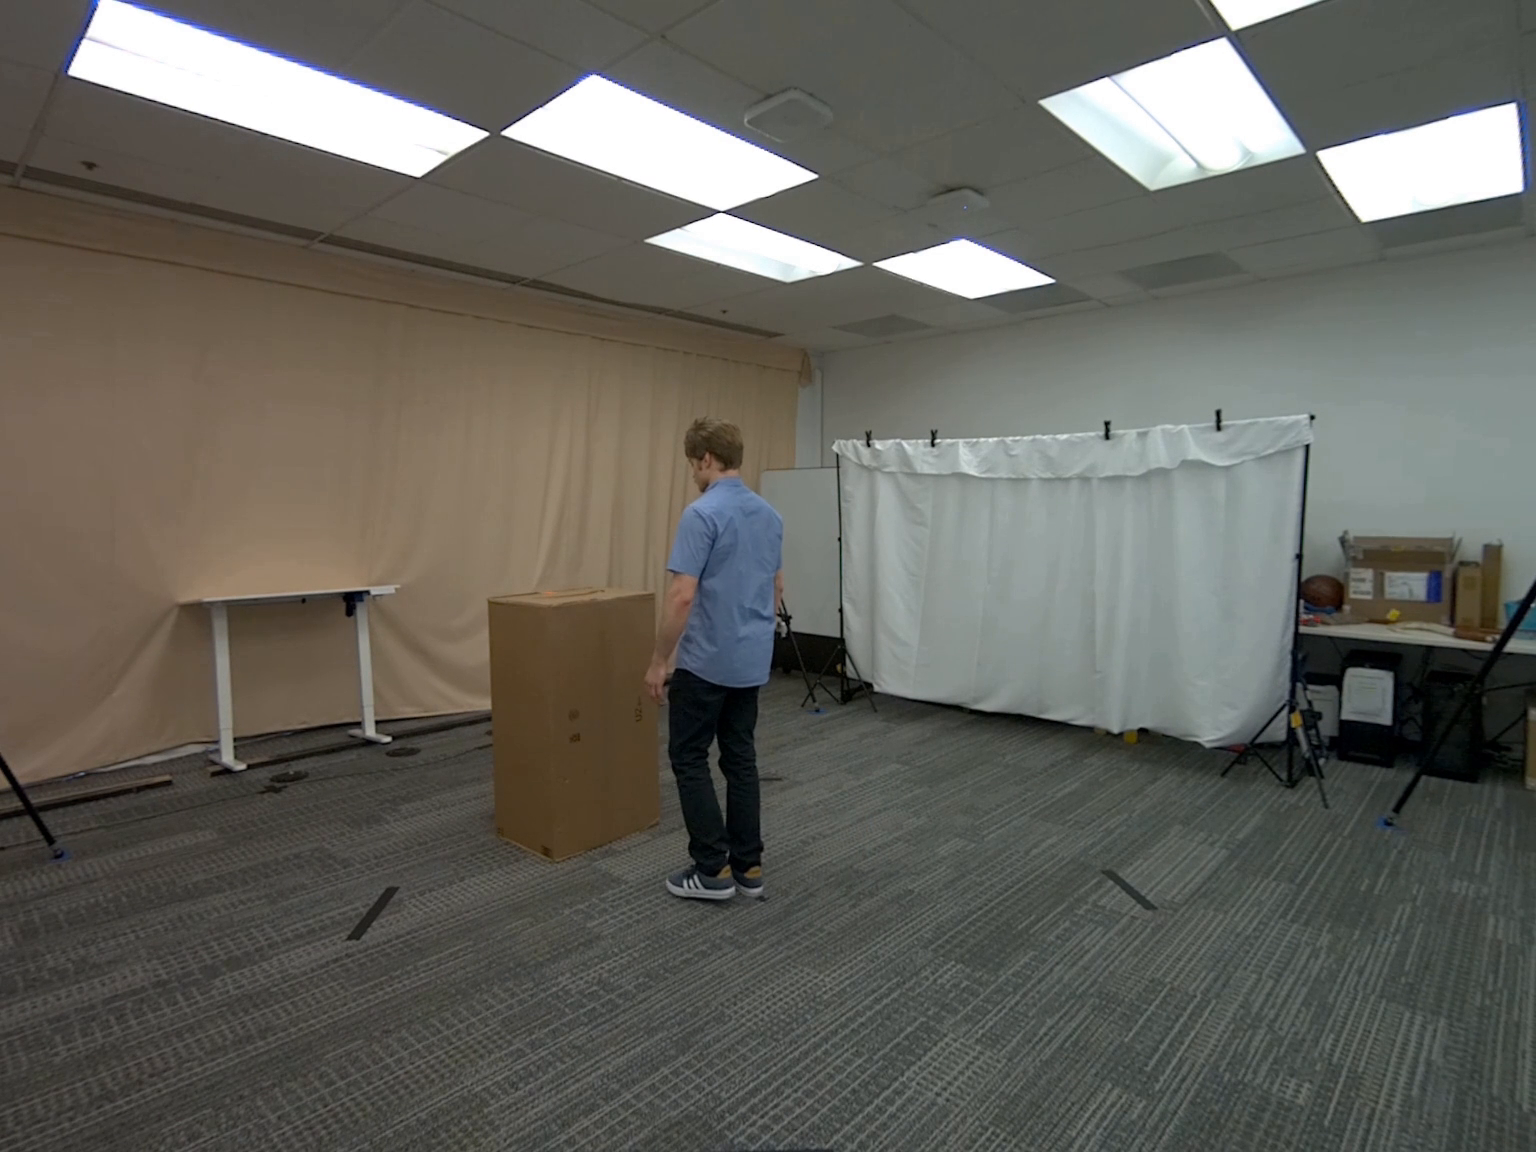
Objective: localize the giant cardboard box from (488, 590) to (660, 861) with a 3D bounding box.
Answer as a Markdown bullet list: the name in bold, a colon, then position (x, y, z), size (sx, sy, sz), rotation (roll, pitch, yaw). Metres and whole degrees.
- **giant cardboard box**: position (-0.828, 0.589, 3.617), size (0.440, 1.024, 0.560), rotation (2, 4, 41)
